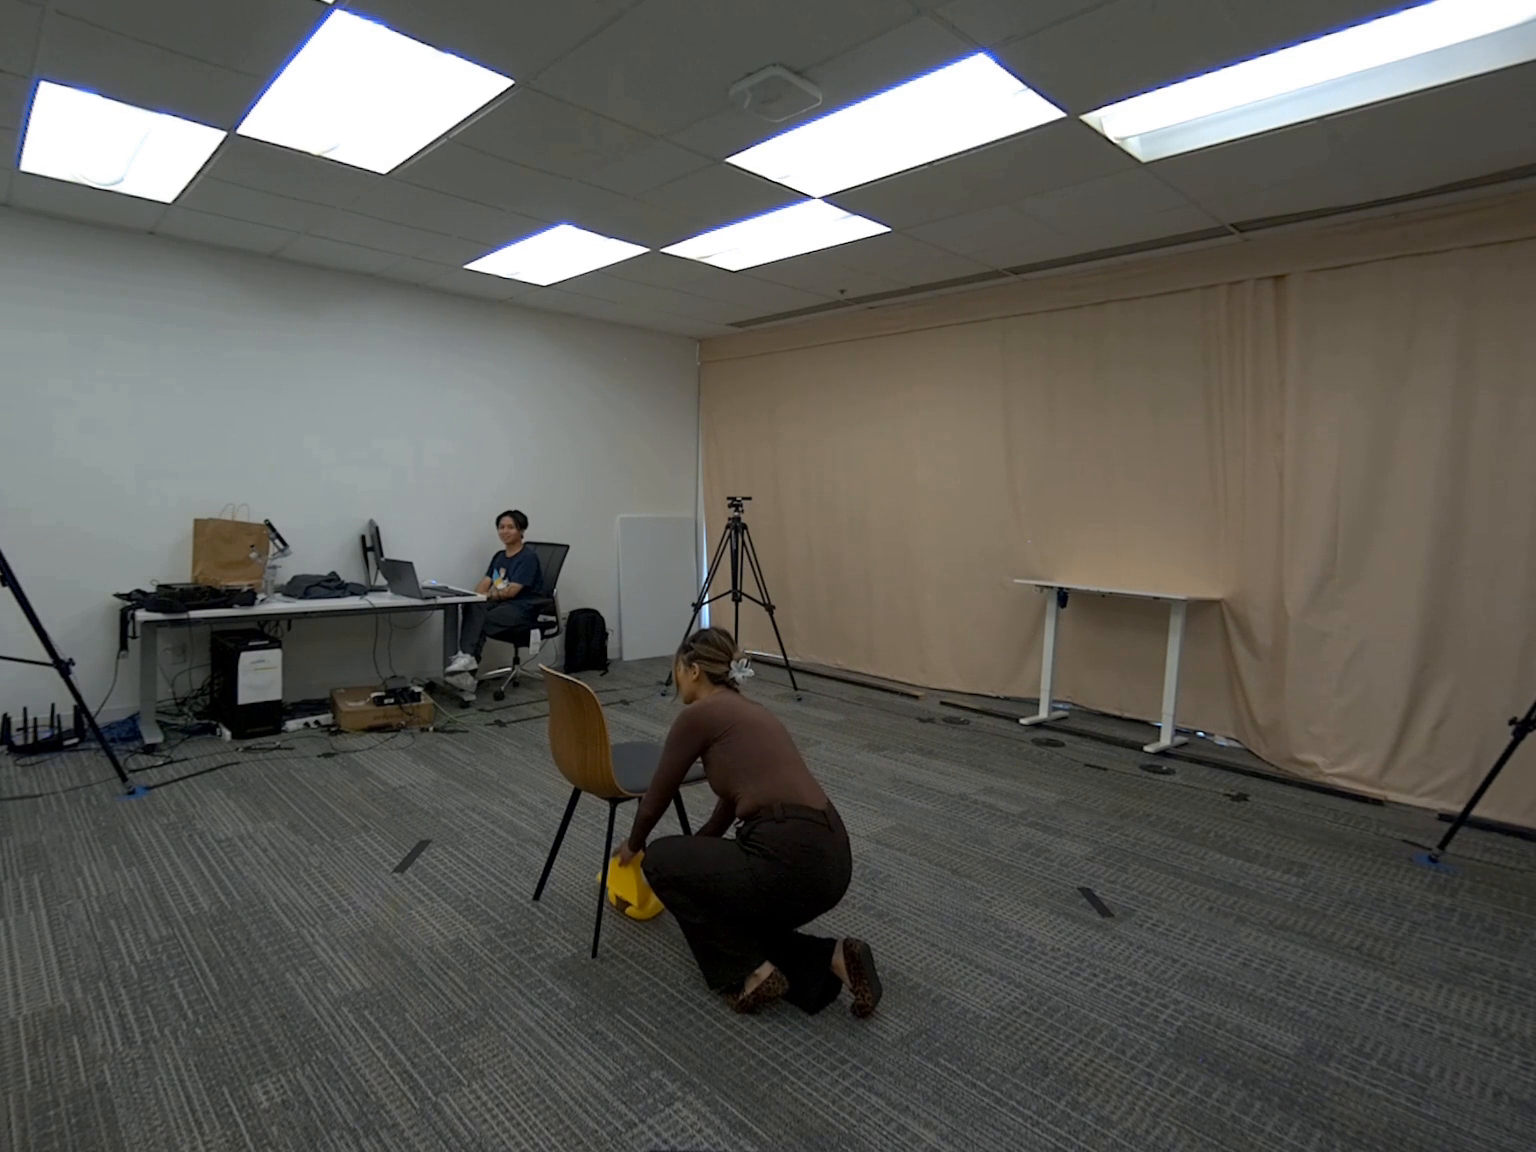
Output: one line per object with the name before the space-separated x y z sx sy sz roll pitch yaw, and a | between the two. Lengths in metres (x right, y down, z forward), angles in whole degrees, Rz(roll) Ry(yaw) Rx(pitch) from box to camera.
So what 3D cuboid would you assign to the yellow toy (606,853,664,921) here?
yellow toy | -0.437 0.990 2.803 0.211 0.228 0.189 19 20 38
